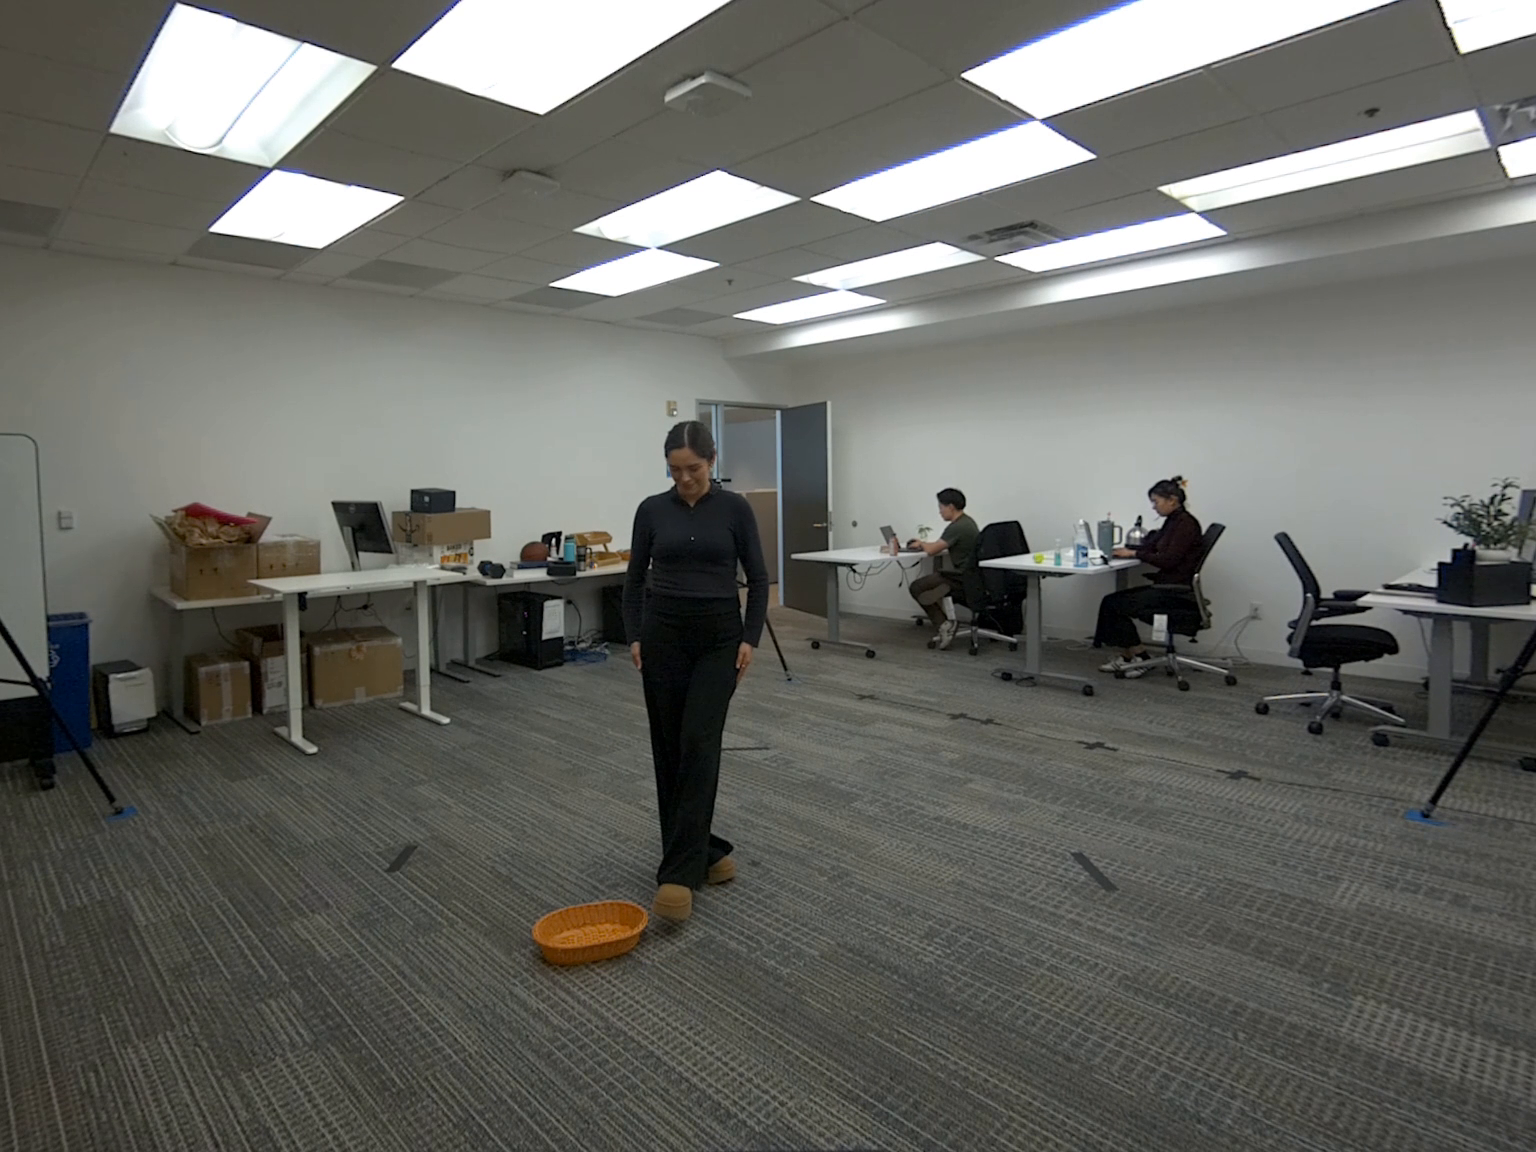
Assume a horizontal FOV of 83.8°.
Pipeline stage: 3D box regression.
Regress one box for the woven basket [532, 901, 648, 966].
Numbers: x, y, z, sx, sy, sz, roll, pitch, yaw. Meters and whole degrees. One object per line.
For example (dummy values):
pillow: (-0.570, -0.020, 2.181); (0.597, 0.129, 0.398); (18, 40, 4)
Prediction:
woven basket: (-0.527, 1.076, 2.575); (0.345, 0.073, 0.257); (-3, 5, -16)
